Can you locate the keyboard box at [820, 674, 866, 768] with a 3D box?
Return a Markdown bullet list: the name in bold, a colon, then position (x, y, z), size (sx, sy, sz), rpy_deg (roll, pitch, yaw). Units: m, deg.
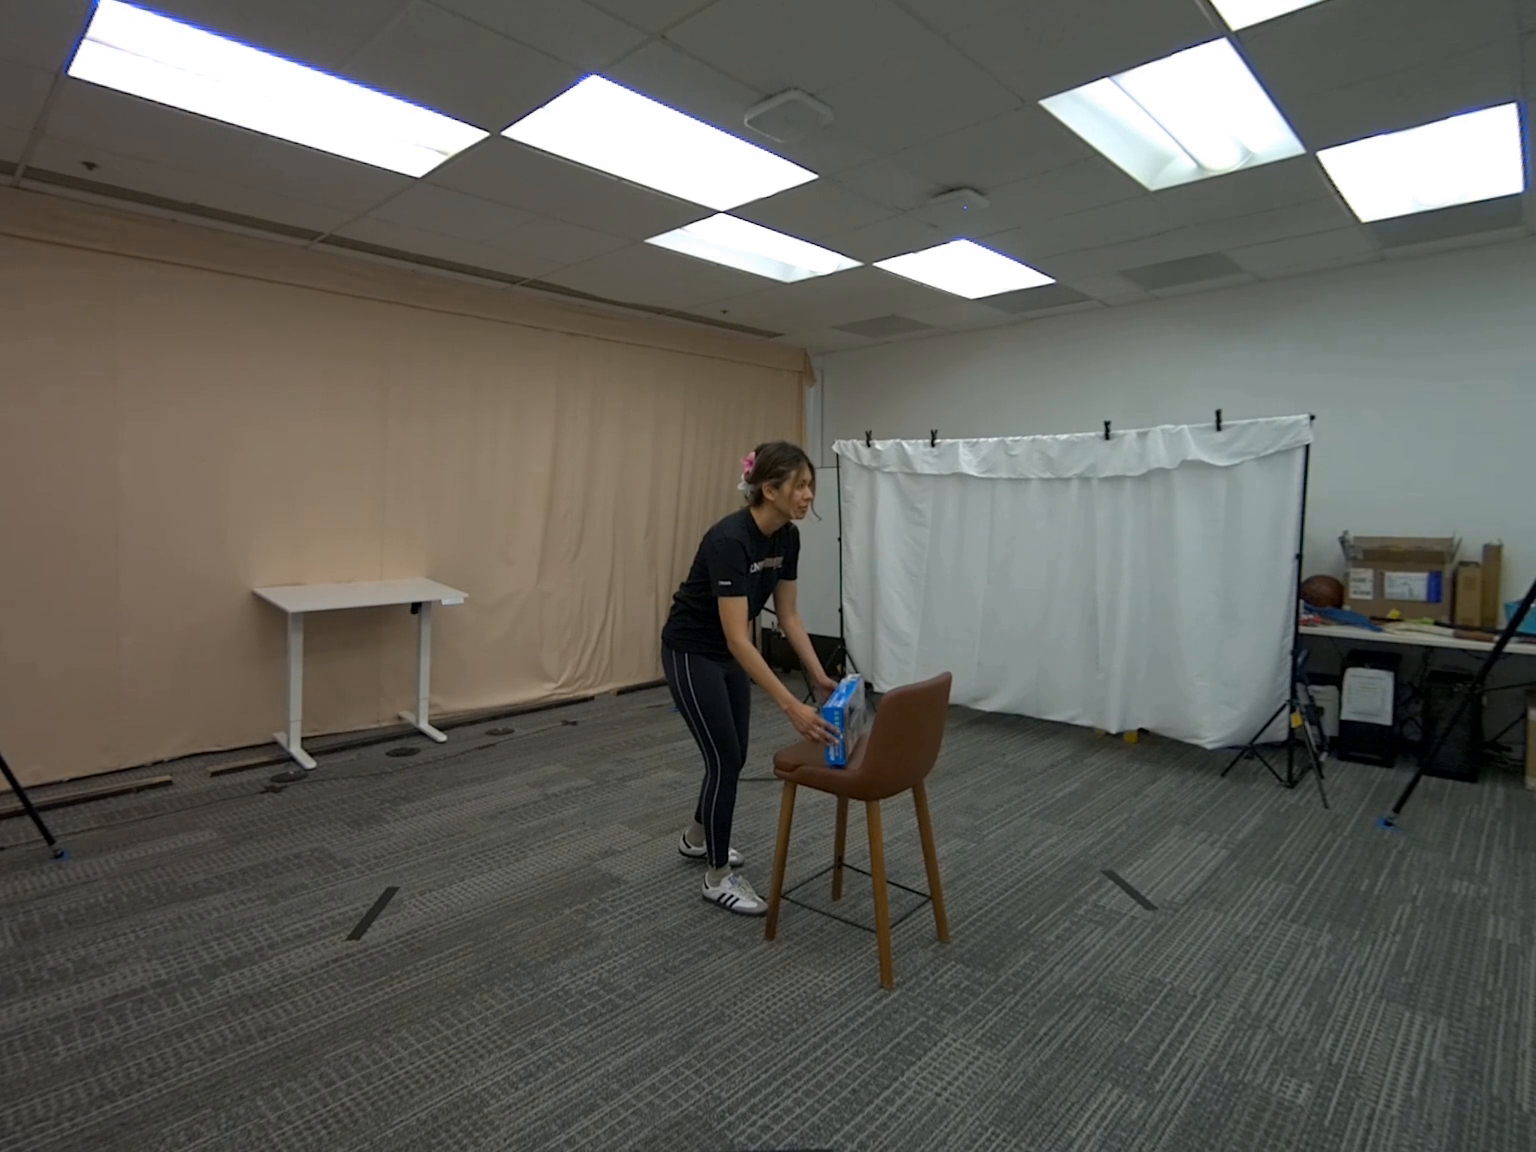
- **keyboard box**: position (0.256, 0.443, 2.672), size (0.060, 0.175, 0.431), rpy_deg (-1, 6, 14)
